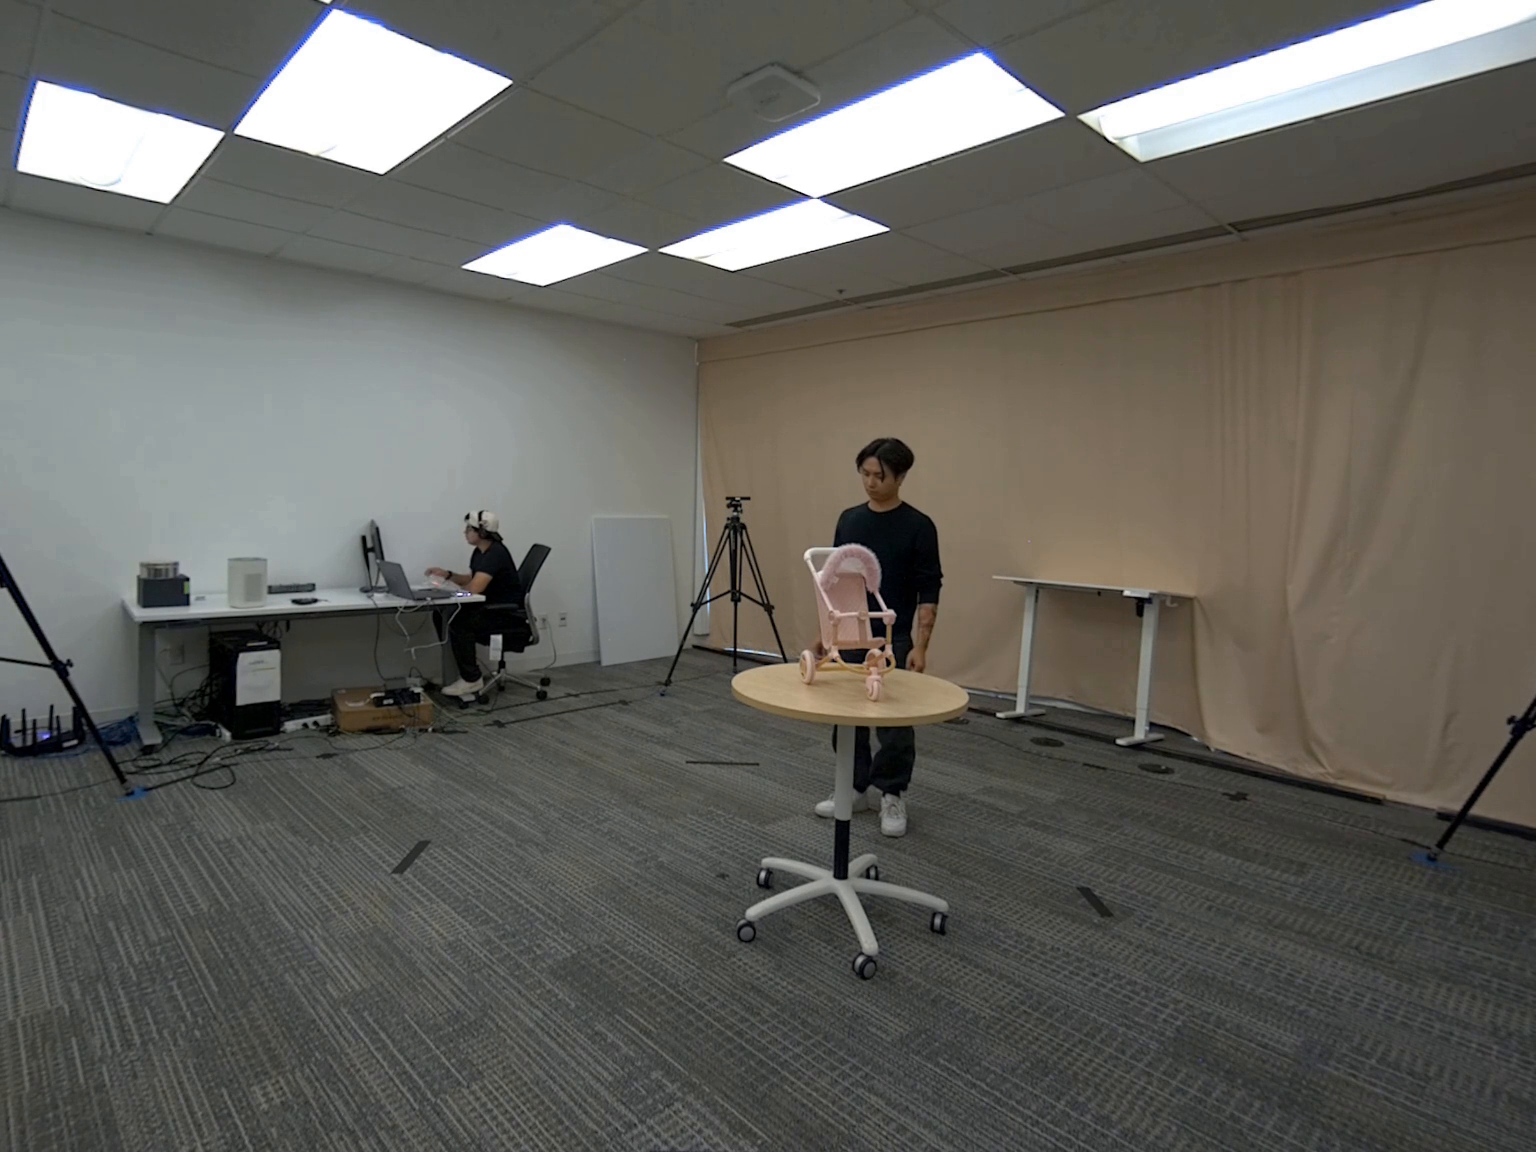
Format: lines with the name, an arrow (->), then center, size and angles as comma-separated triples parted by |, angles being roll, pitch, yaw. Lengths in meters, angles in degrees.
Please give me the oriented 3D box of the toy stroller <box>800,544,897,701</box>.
toy stroller -> 0.268, 0.141, 2.735 | 0.279, 0.539, 0.342 | 1, -11, -13
